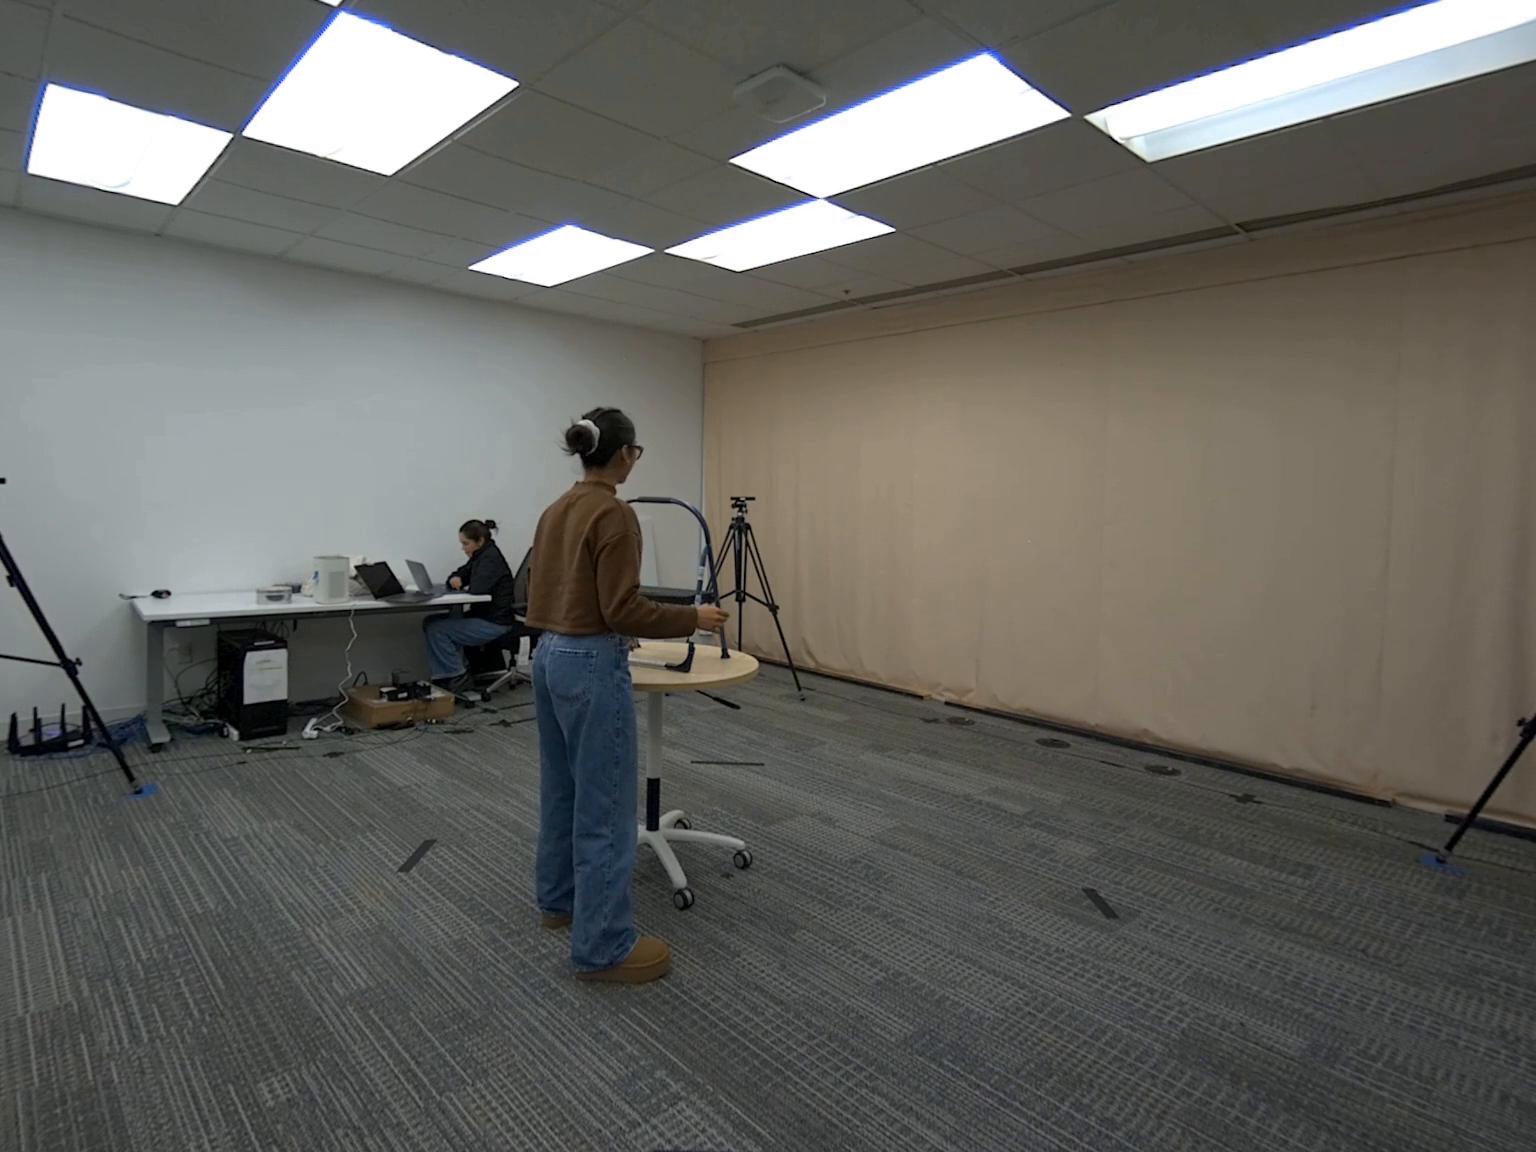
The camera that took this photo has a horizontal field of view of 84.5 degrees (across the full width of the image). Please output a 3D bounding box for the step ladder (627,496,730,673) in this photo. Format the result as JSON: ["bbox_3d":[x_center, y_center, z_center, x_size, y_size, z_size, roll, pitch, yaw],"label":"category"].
[{"bbox_3d":[-0.400,0.013,3.147,0.438,0.604,0.344,3,4,23],"label":"step ladder"}]
